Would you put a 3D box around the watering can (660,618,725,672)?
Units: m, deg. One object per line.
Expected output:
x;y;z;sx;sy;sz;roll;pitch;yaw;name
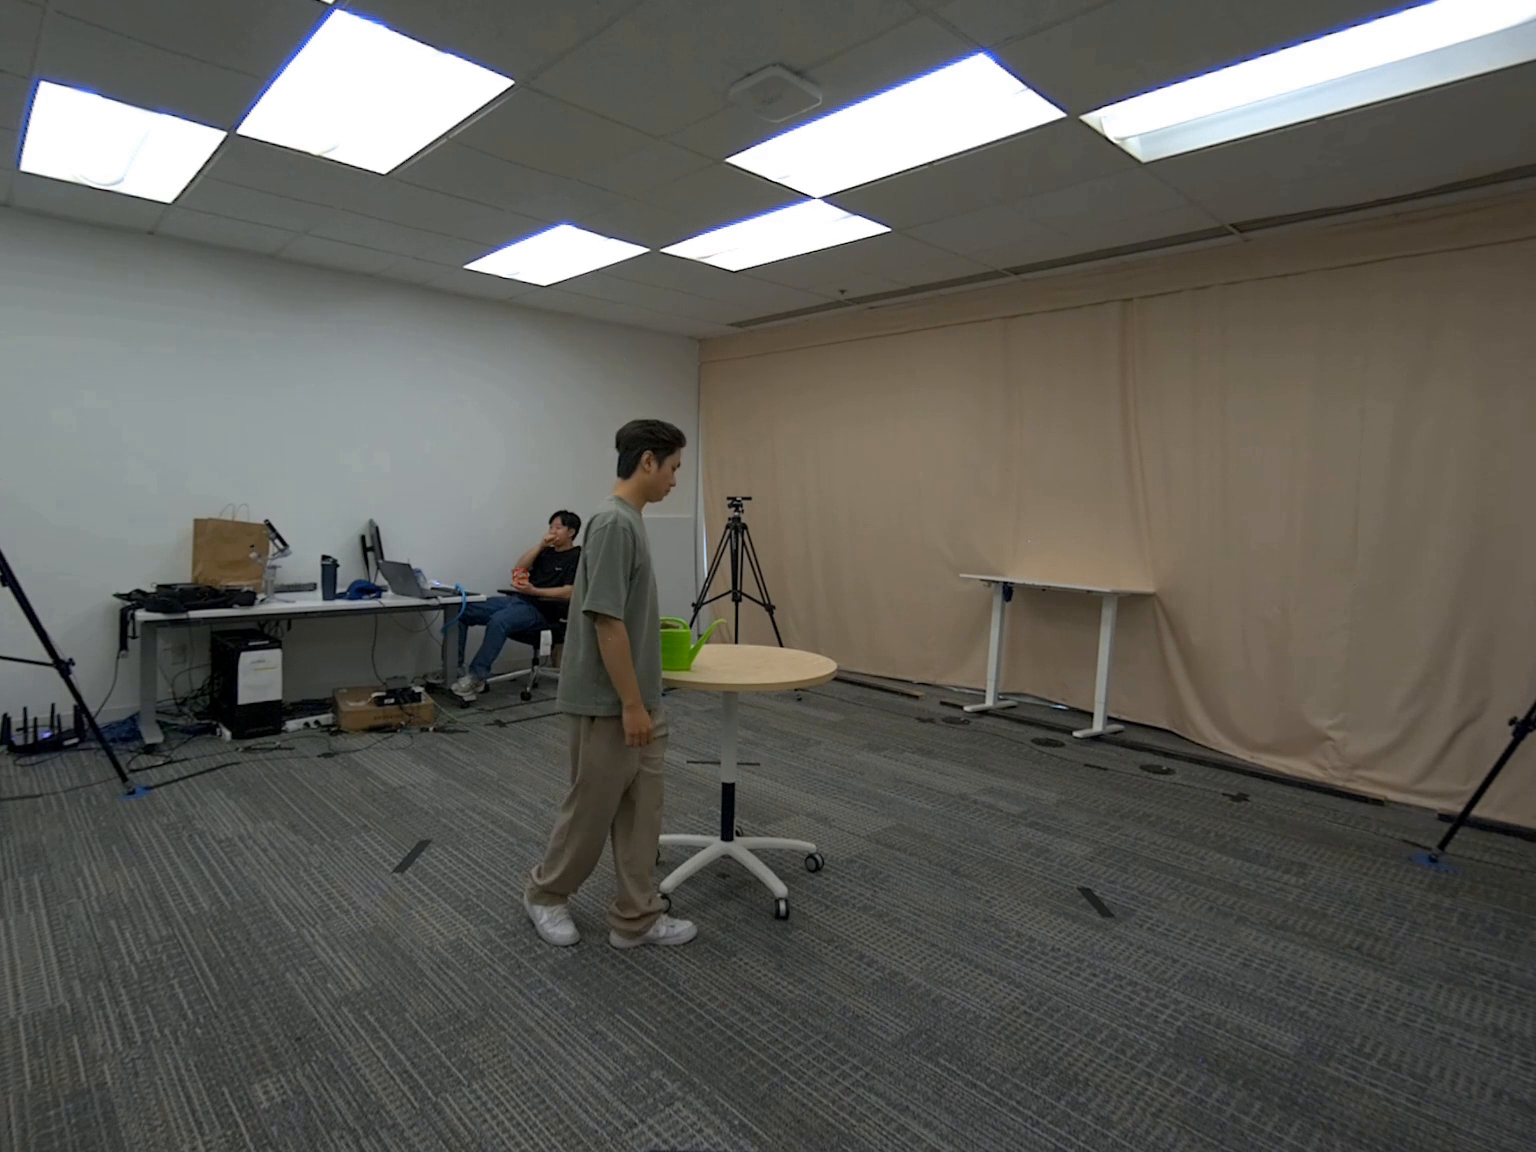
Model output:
-0.298;0.241;2.880;0.285;0.176;0.096;4;4;36;watering can
